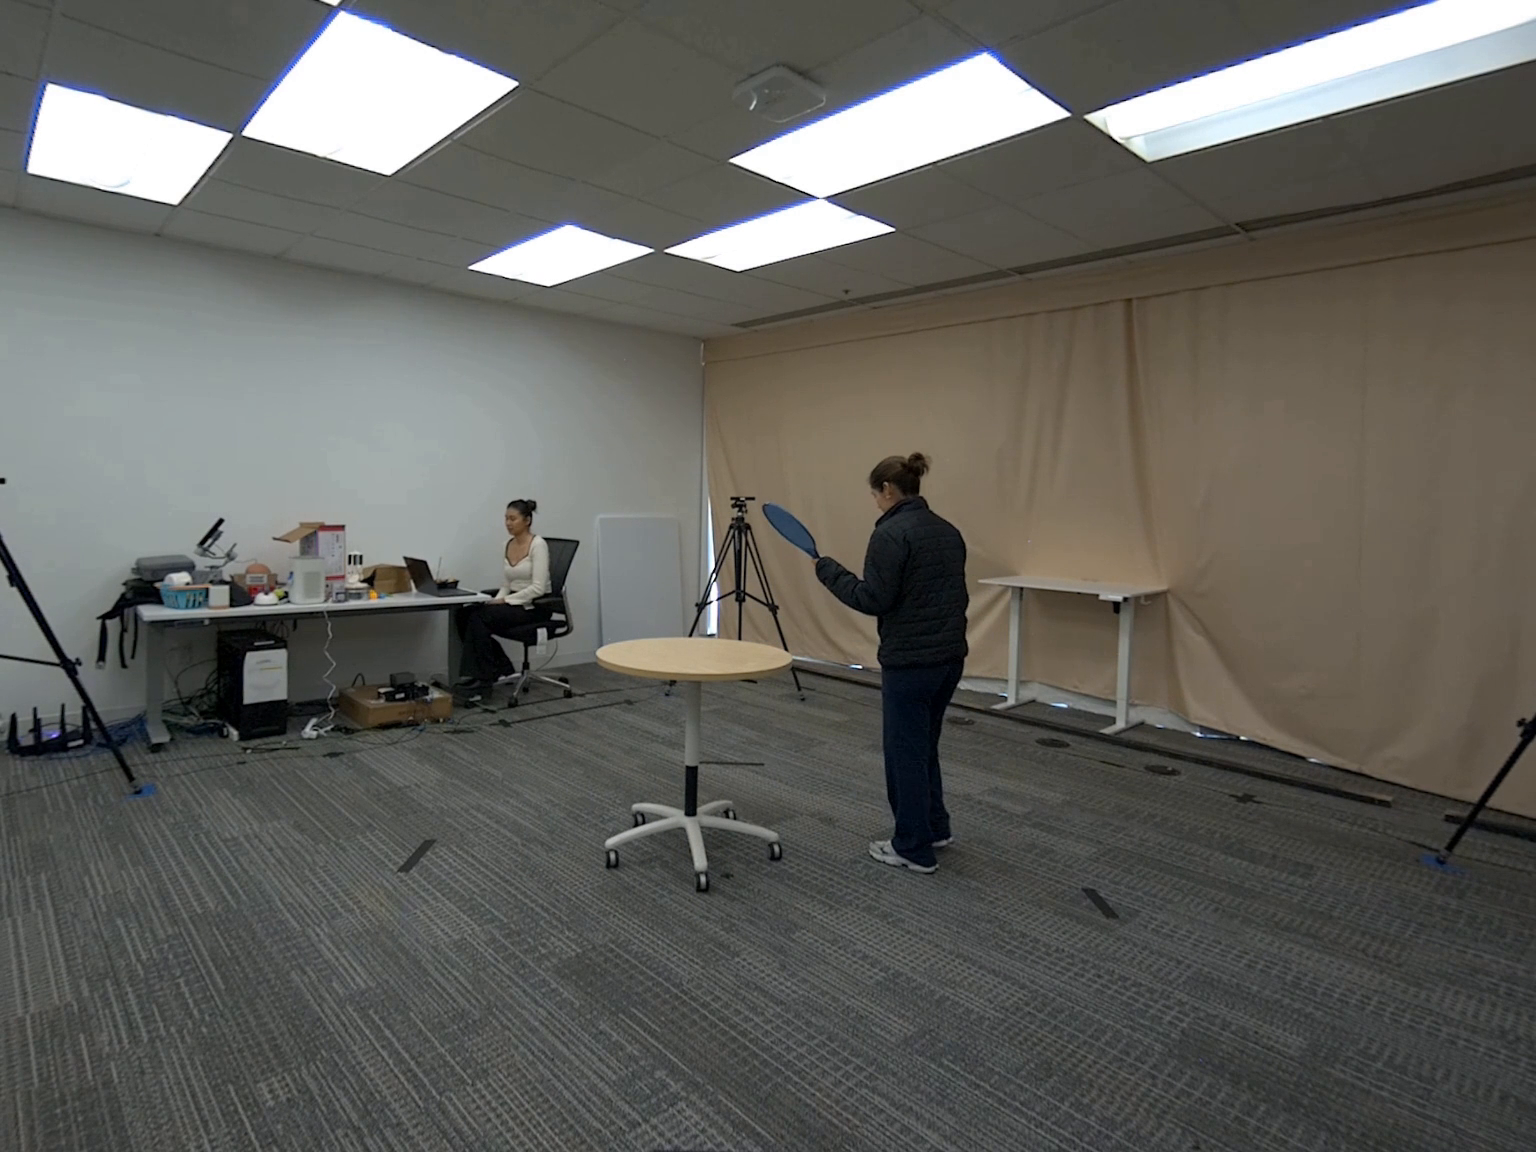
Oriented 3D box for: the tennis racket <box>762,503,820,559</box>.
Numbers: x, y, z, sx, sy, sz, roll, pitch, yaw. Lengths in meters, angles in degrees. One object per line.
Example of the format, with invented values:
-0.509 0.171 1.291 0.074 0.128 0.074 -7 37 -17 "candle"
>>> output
0.134 -0.130 3.248 0.426 0.032 0.217 45 -19 -15 "tennis racket"
